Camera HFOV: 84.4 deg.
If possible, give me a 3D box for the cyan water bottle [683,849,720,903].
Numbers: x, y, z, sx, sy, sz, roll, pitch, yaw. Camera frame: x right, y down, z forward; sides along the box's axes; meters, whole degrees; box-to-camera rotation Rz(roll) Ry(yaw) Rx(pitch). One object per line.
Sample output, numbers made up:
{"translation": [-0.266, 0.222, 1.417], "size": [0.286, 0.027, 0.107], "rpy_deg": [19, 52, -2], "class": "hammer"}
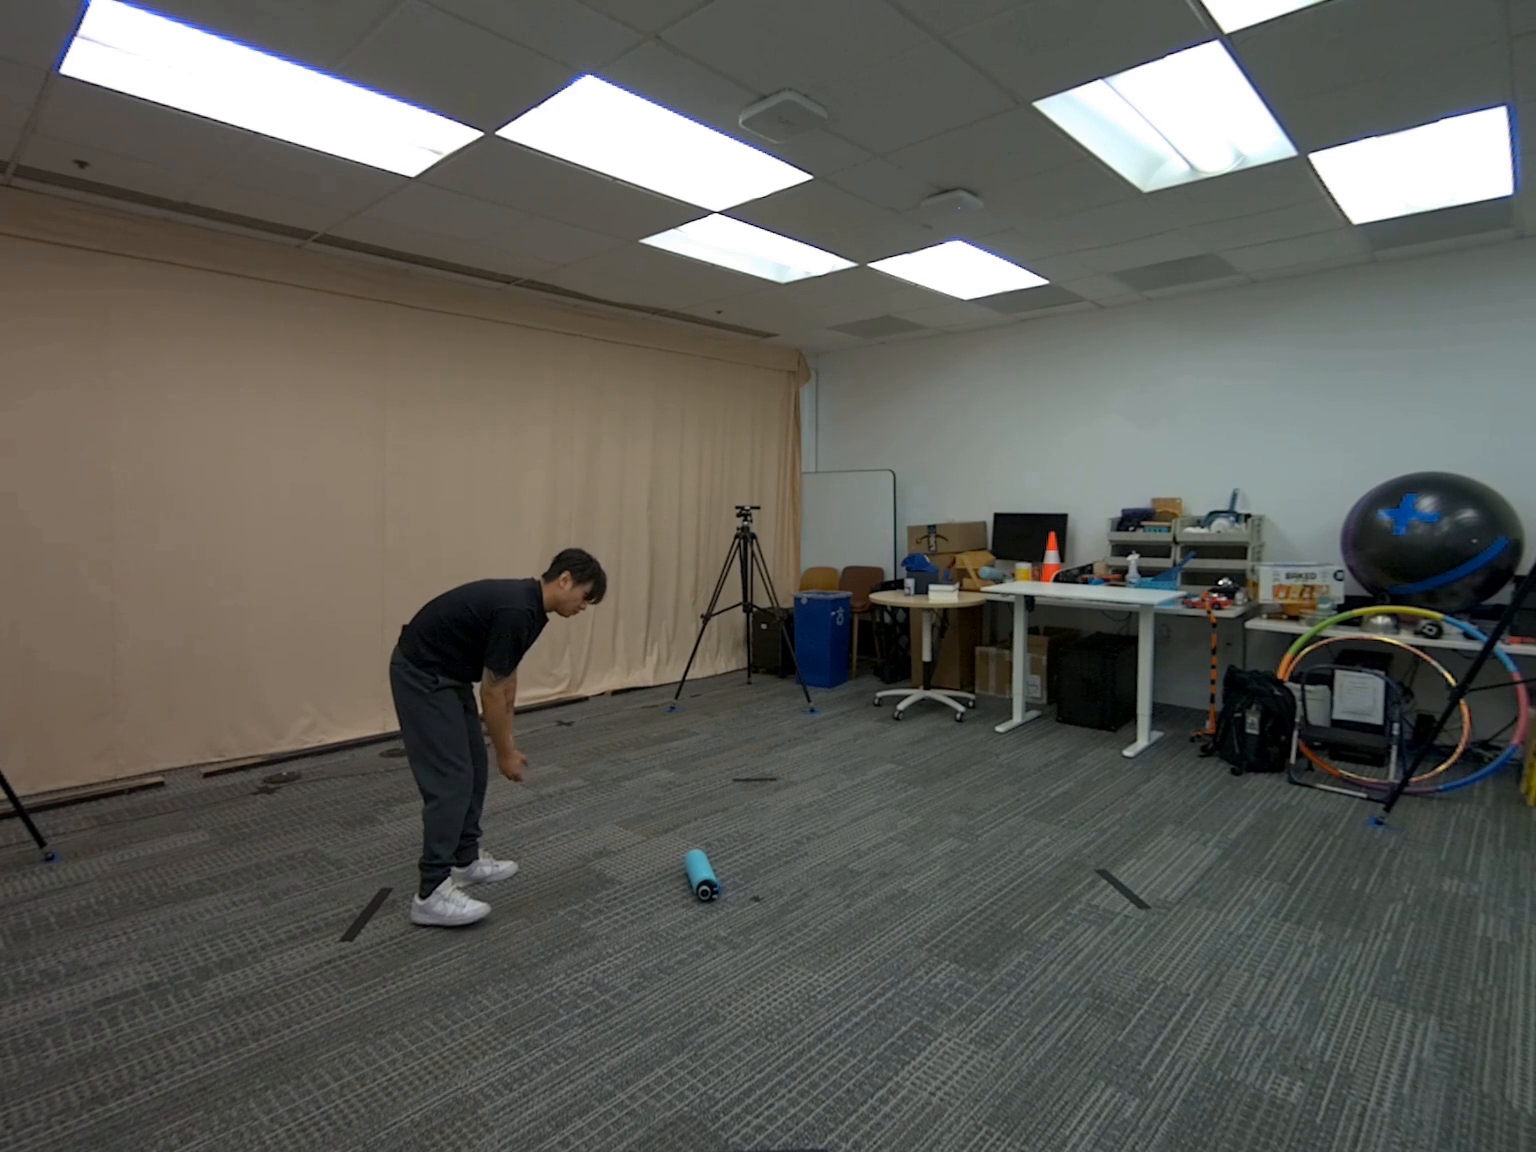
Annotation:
{"translation": [-0.241, 1.091, 3.062], "size": [0.091, 0.092, 0.288], "rpy_deg": [-1, 6, -15], "class": "cyan water bottle"}
